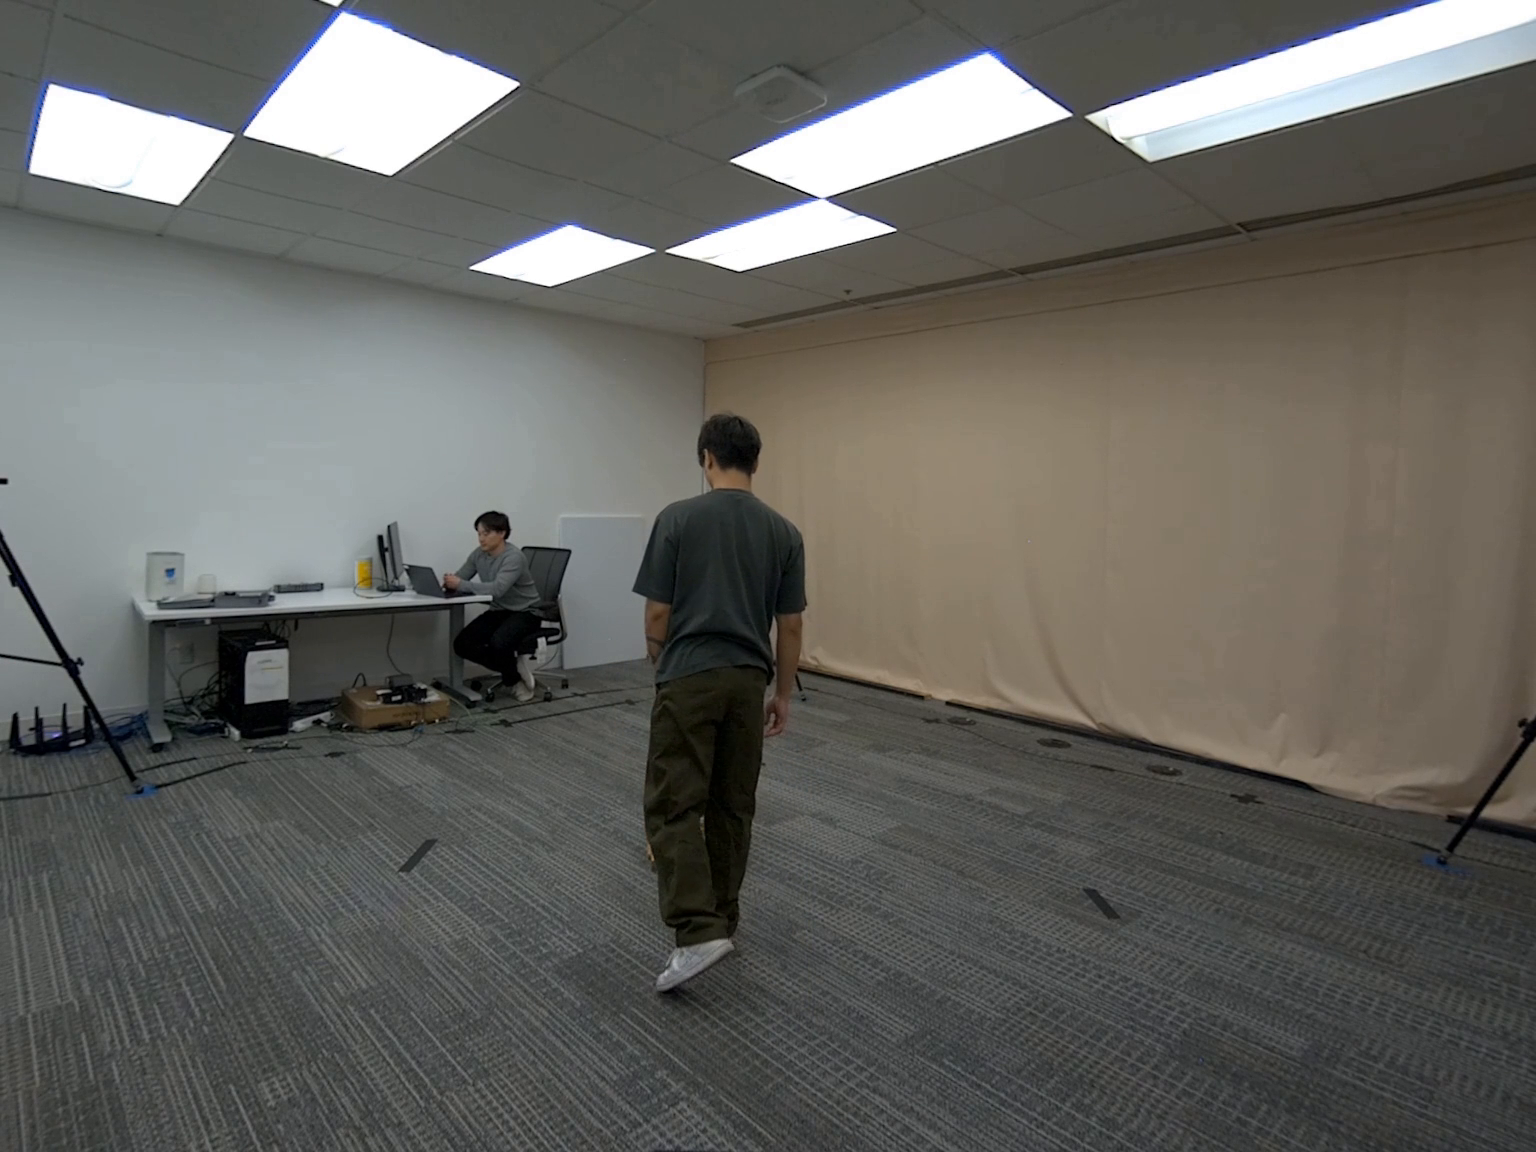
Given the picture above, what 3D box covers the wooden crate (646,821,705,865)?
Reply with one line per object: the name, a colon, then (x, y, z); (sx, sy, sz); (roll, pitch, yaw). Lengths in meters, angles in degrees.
wooden crate: (-0.308, 0.958, 3.271); (0.322, 0.272, 0.305); (1, 4, -9)
